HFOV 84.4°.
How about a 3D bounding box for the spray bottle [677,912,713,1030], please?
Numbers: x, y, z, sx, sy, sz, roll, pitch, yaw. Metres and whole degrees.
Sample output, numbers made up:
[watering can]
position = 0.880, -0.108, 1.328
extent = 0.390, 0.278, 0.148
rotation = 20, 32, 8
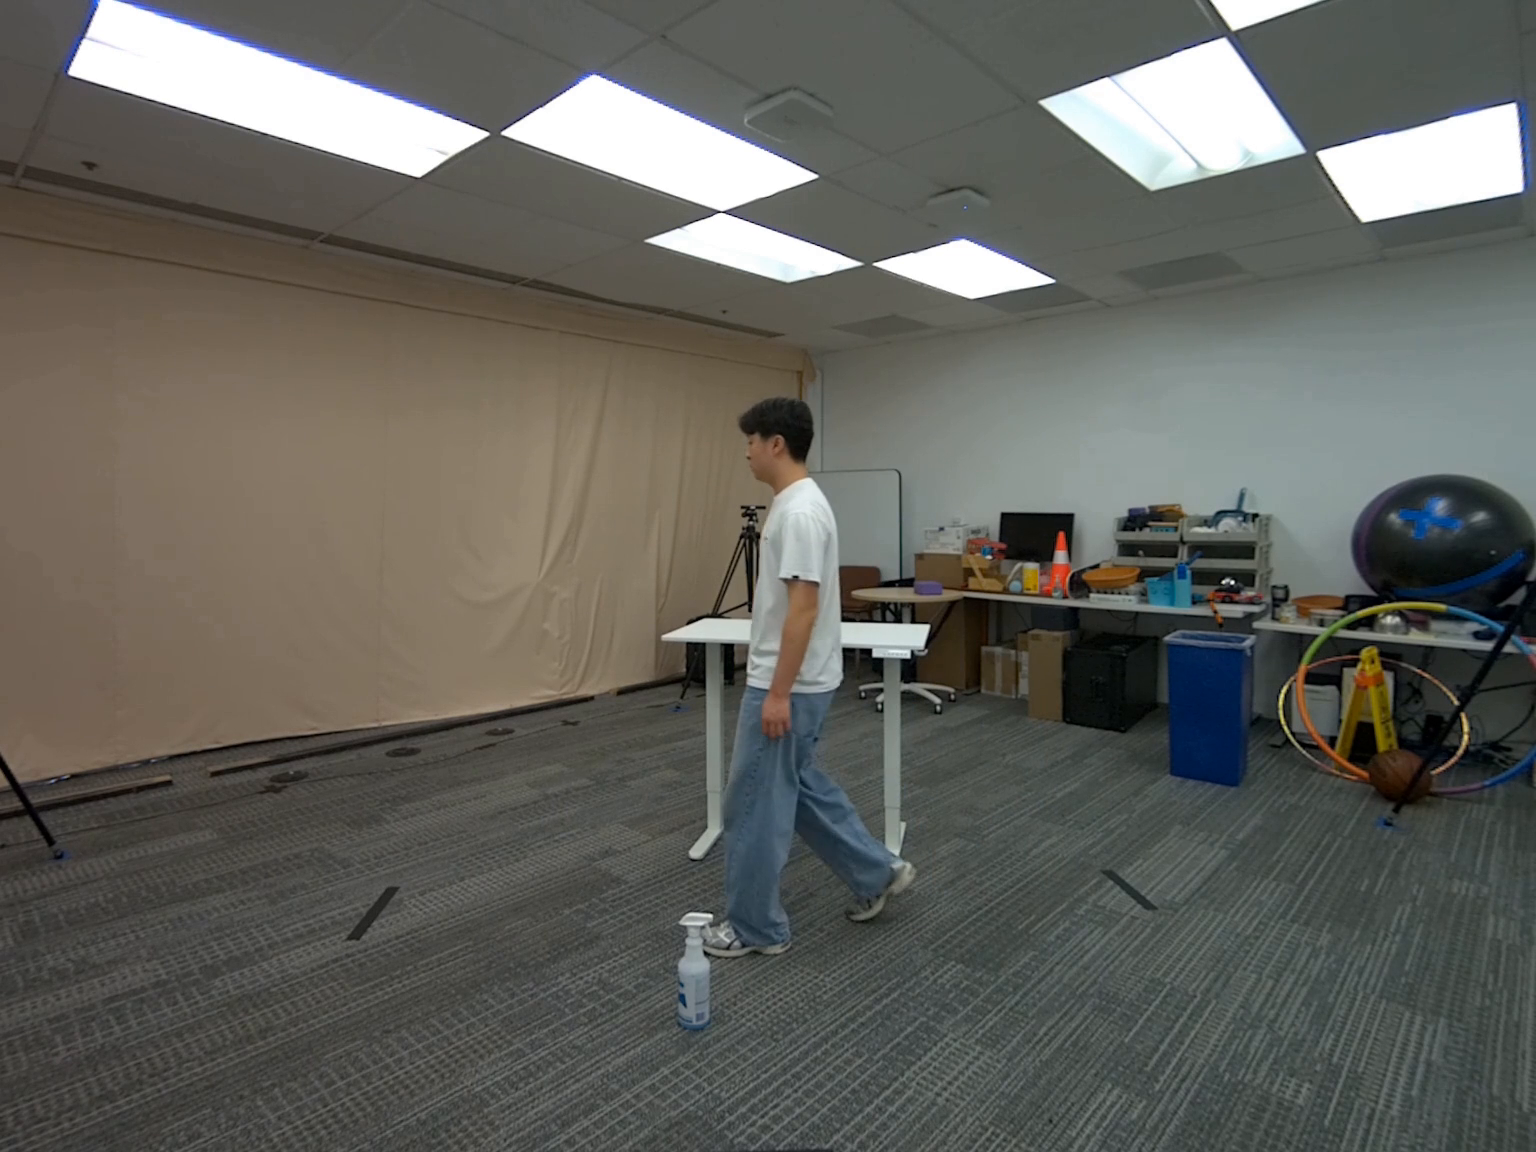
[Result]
[spray bottle]
position = -0.189, 1.050, 2.299
extent = 0.092, 0.297, 0.084
rotation = 0, -1, 28
